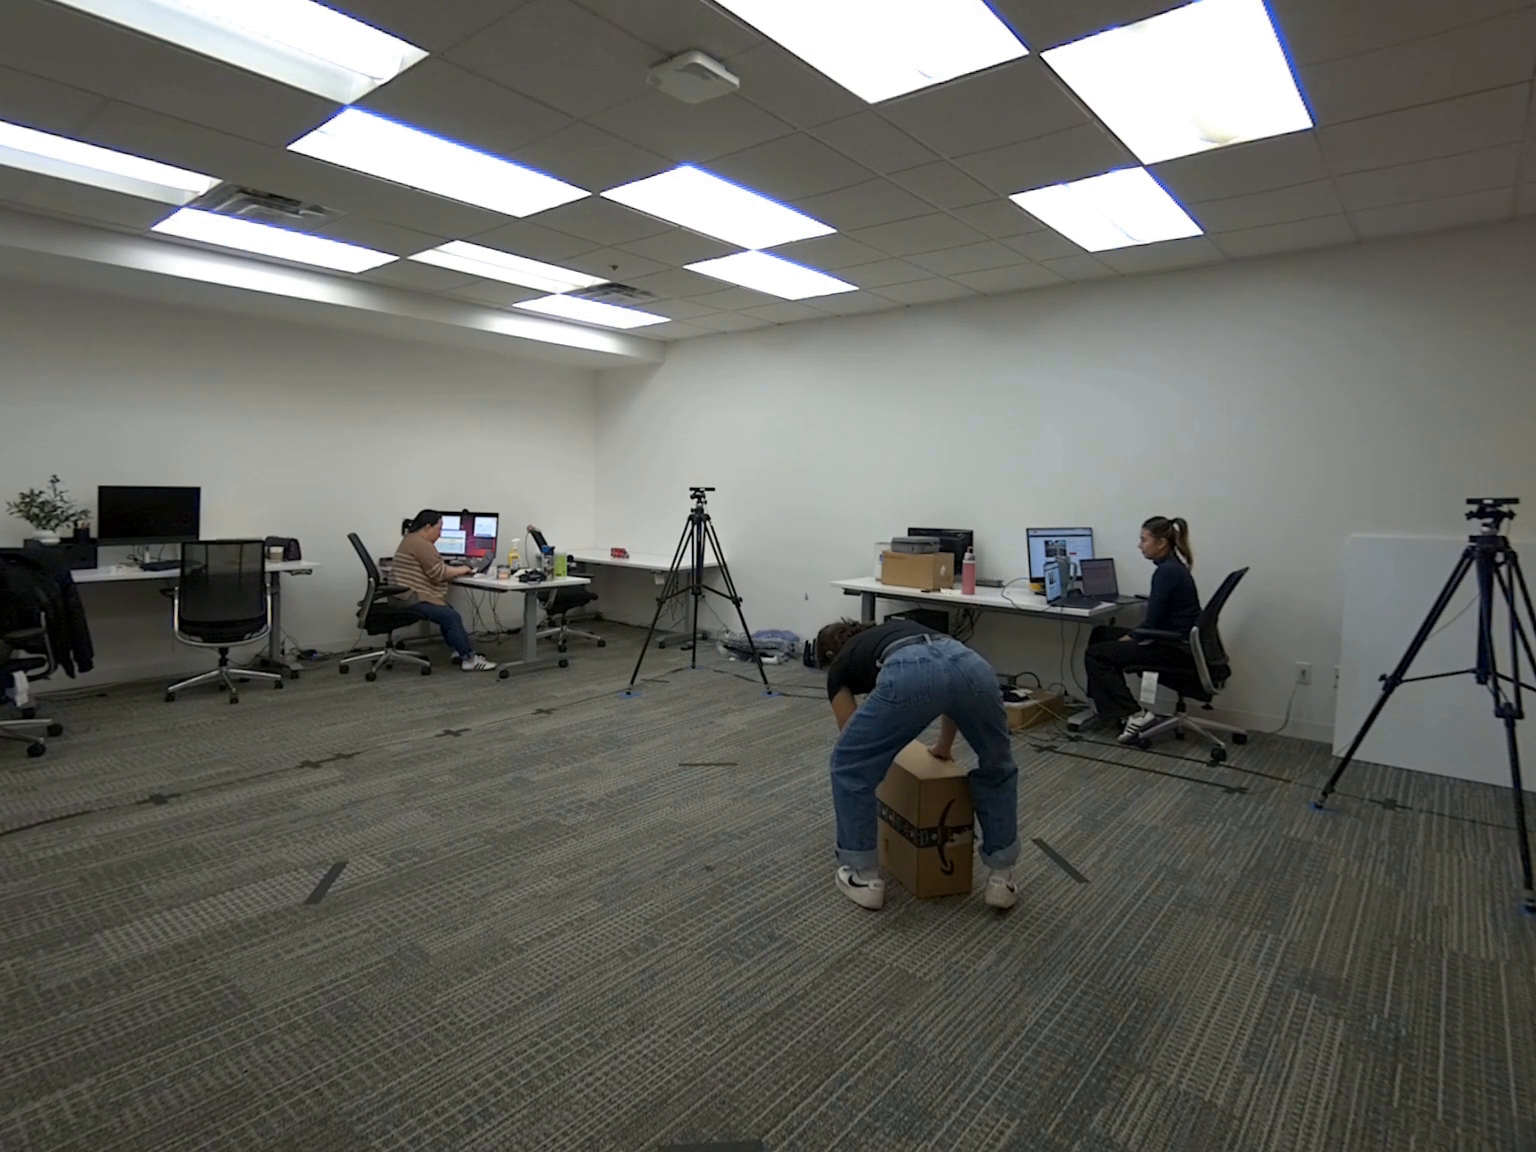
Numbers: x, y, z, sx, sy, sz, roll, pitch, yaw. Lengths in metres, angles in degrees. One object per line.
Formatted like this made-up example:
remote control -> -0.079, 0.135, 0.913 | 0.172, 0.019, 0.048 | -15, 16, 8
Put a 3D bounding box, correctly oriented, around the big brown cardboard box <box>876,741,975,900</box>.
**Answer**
big brown cardboard box -> 0.513, 0.861, 3.209 | 0.229, 0.416, 0.602 | -1, 5, -18
